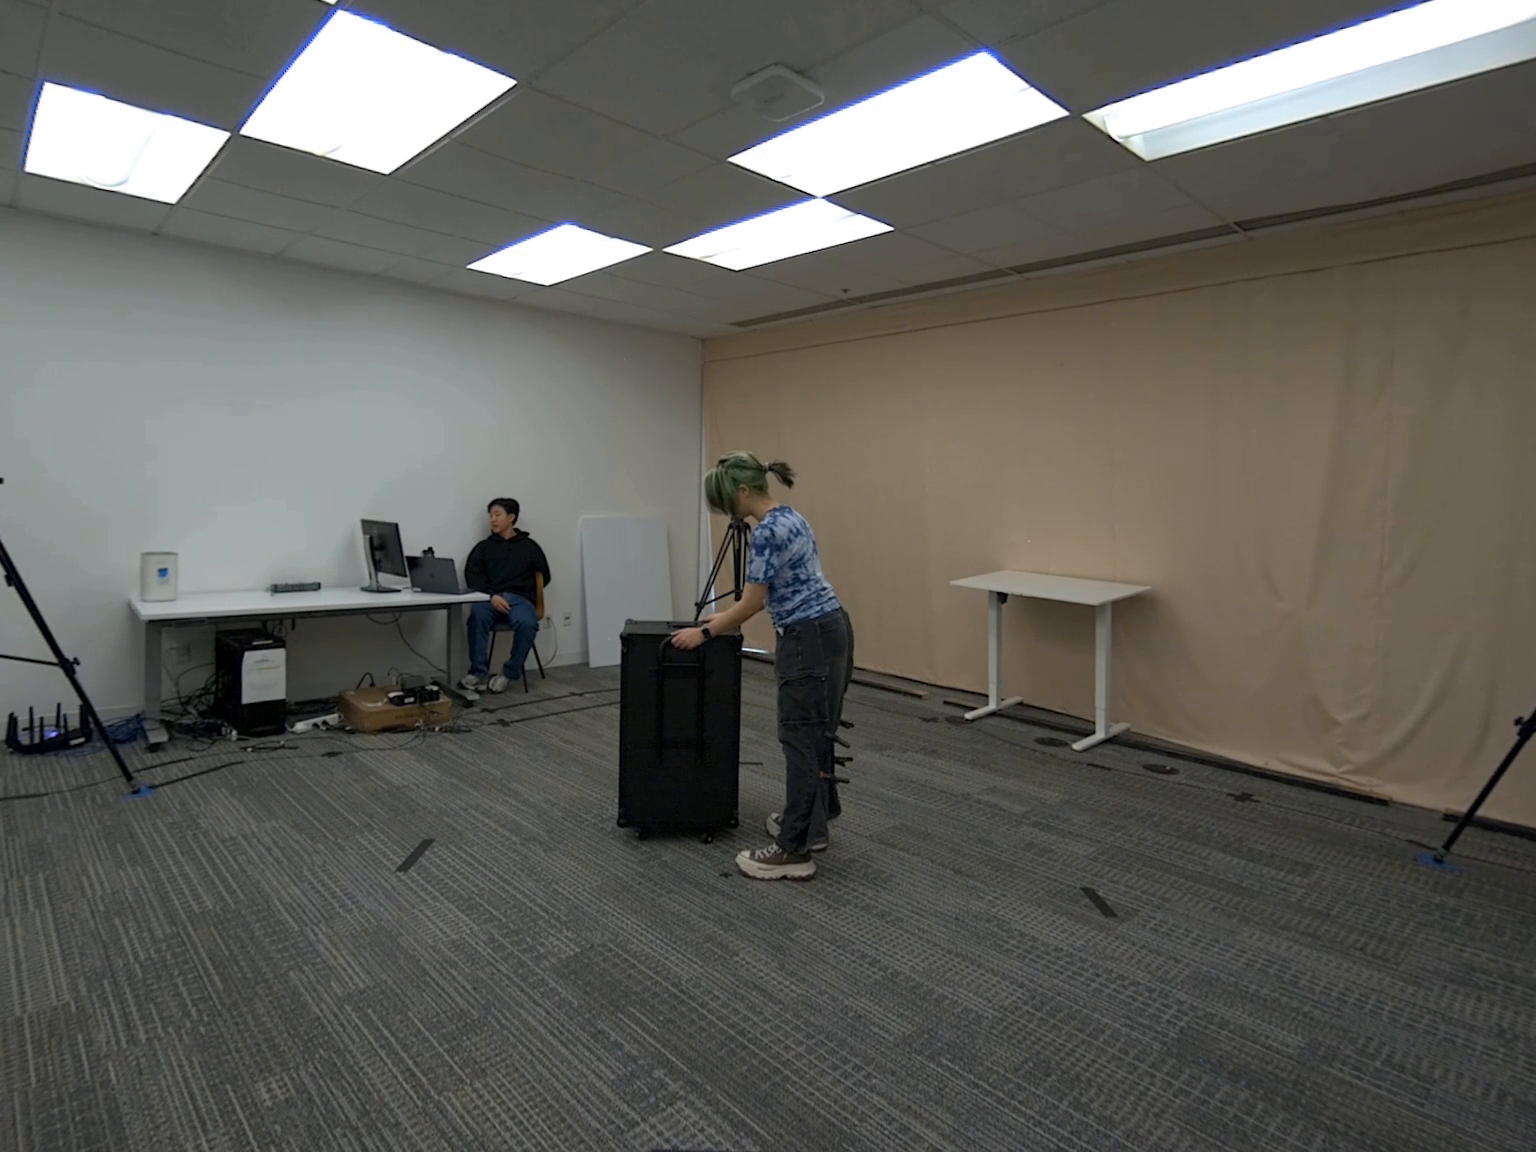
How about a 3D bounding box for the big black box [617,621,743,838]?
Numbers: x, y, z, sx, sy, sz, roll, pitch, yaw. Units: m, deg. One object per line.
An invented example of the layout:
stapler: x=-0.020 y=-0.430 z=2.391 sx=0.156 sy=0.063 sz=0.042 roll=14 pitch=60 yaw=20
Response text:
big black box: x=-0.372 y=0.644 z=3.514 sx=0.520 sy=0.859 sz=0.398 roll=1 pitch=4 yaw=-2
